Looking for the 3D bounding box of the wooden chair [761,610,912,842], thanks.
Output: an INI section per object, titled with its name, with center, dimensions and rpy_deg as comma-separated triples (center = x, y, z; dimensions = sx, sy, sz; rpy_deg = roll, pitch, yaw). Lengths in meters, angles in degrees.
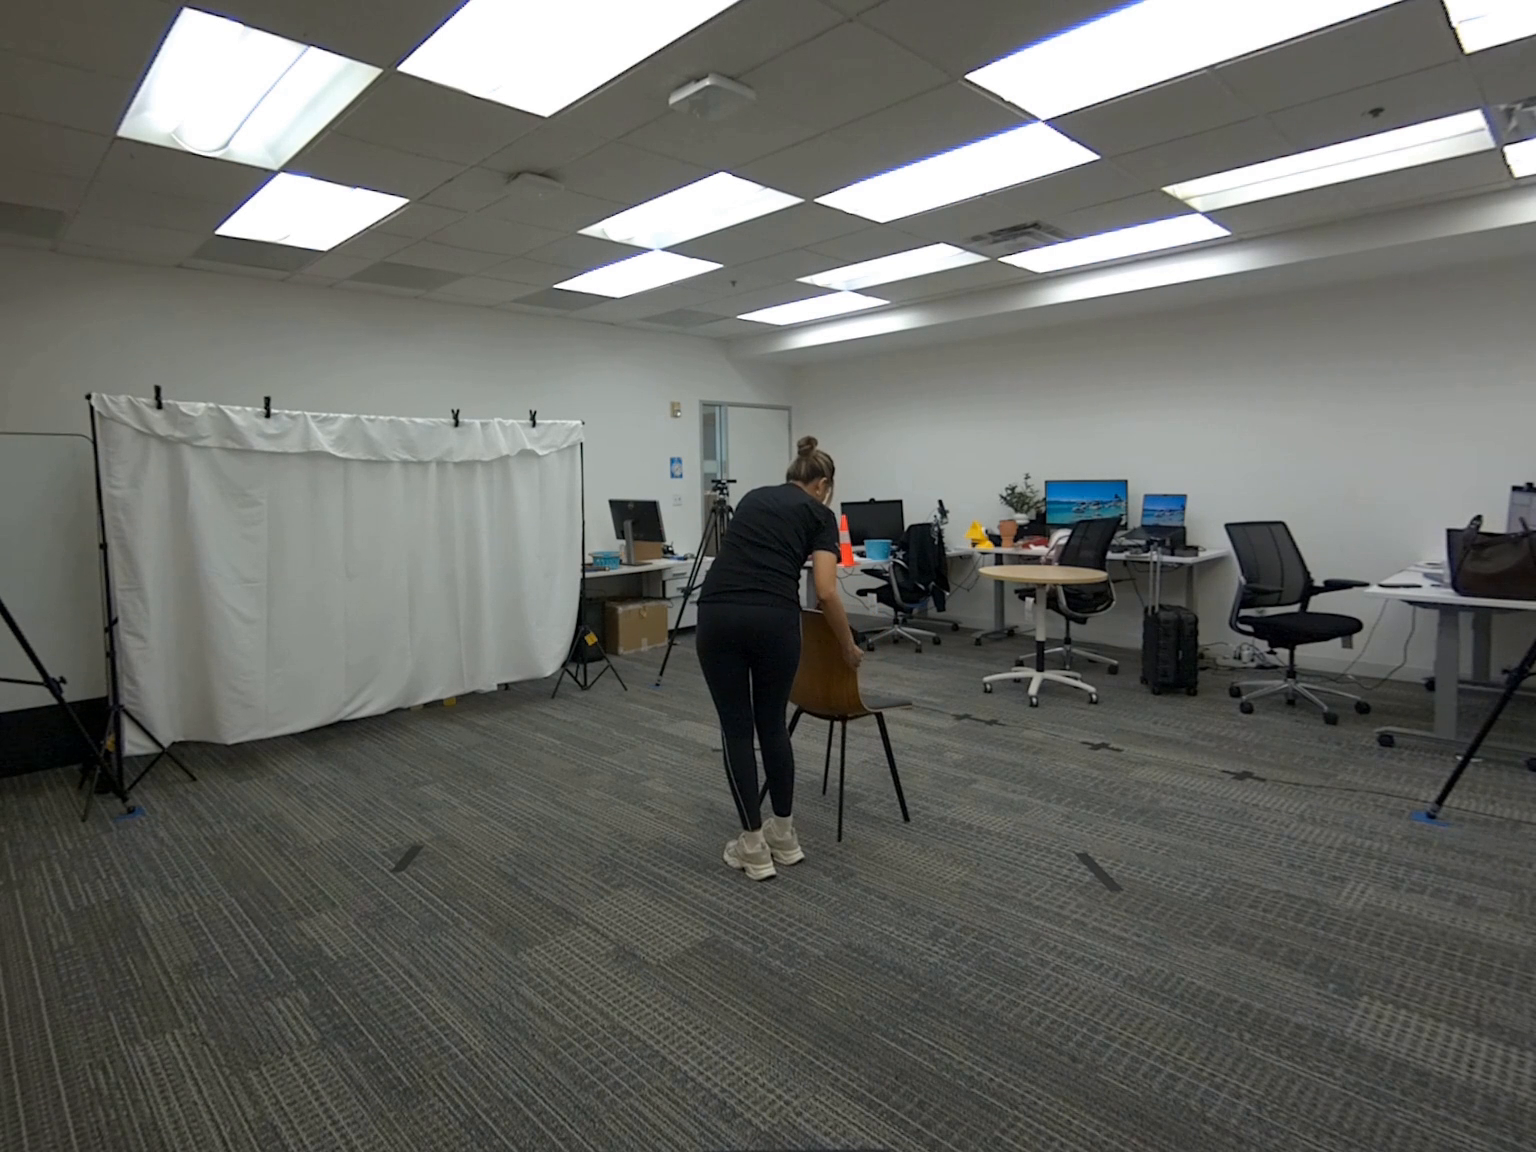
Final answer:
[wooden chair]
center = 0.291, 0.549, 3.486
dimensions = 0.508, 0.875, 0.493
rpy_deg = -2, 4, -45
